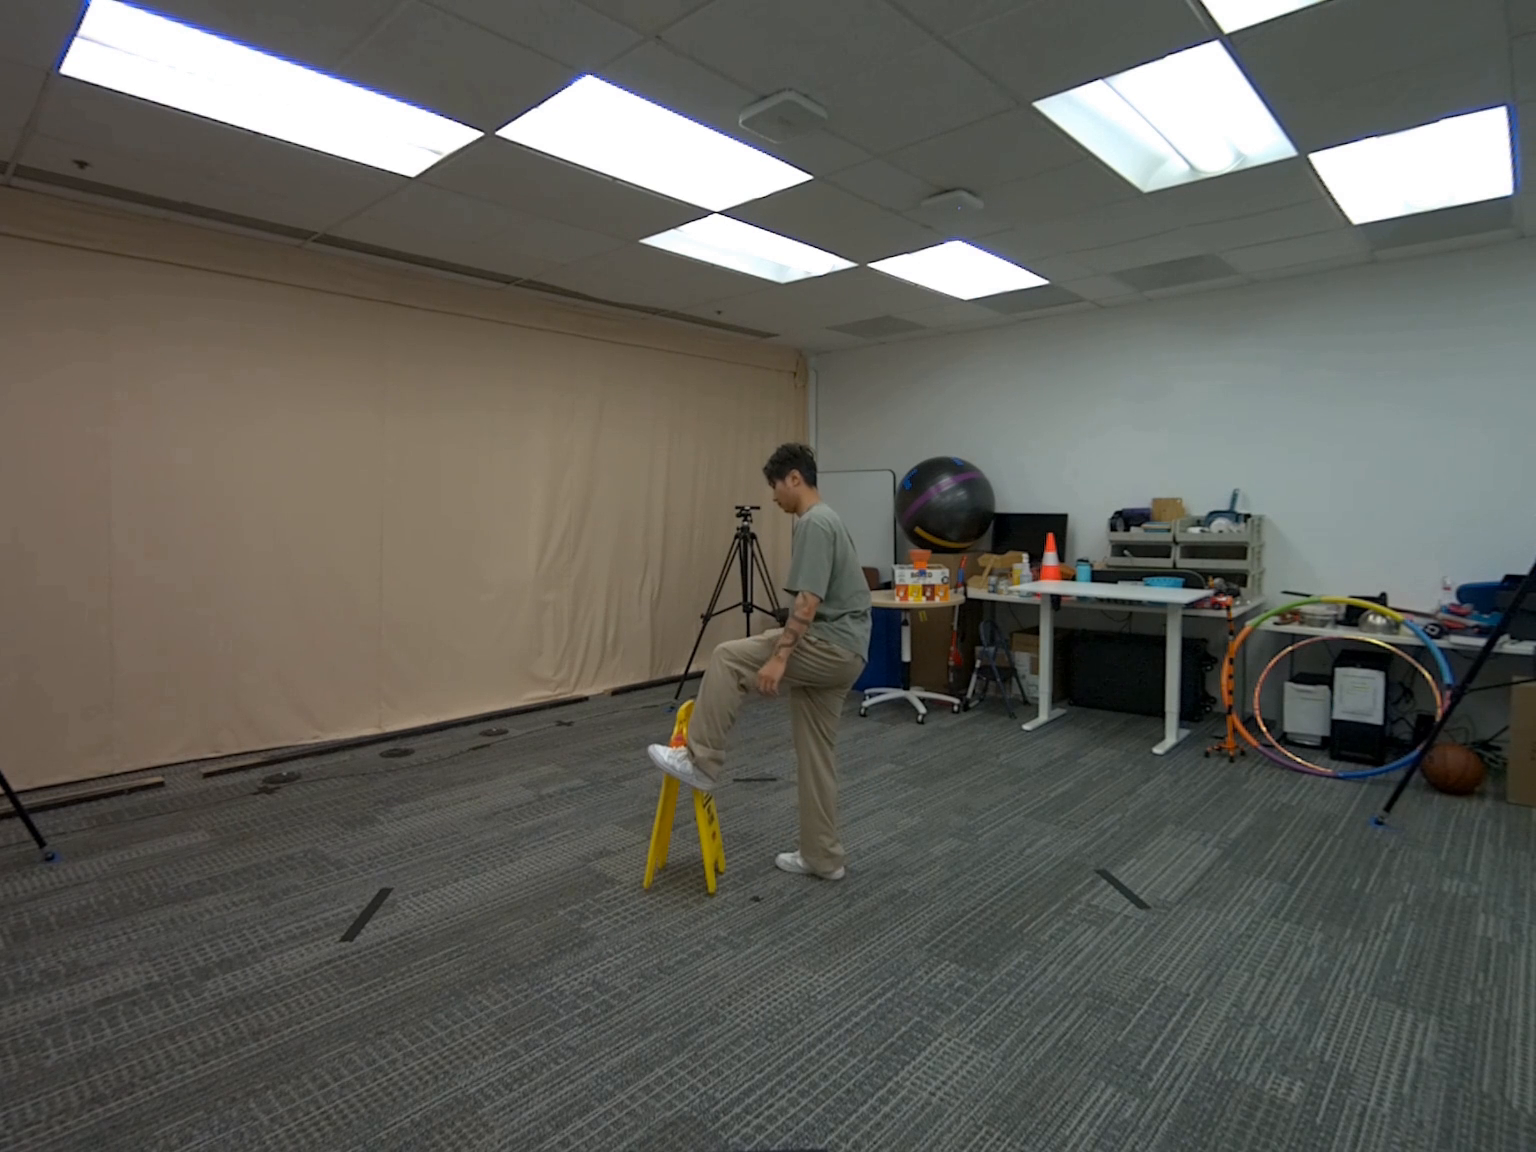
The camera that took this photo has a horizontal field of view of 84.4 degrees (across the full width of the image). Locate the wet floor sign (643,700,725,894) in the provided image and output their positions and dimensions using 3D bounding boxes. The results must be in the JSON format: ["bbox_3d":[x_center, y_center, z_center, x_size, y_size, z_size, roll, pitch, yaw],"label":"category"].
[{"bbox_3d":[-0.308,0.807,3.144,0.292,0.647,0.279,-1,-3,7],"label":"wet floor sign"}]
